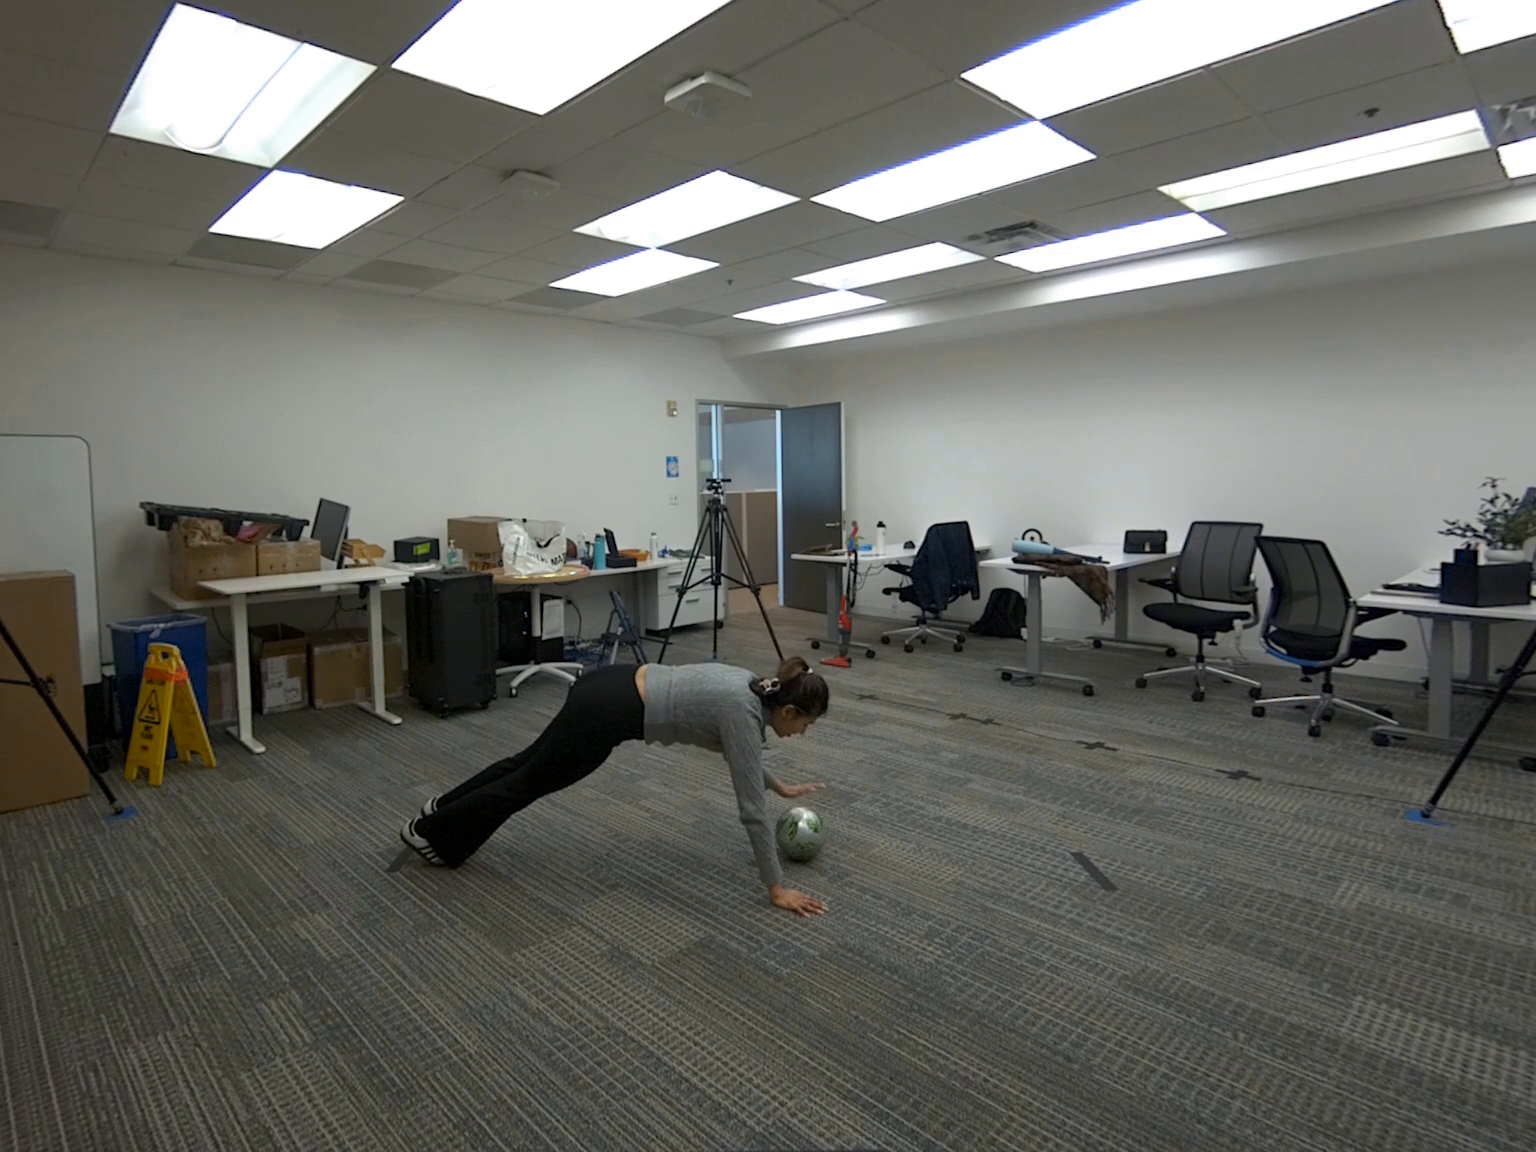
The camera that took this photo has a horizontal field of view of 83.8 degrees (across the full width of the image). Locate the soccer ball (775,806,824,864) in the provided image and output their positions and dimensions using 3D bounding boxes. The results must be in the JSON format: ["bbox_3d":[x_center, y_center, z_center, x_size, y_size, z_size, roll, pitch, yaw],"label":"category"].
[{"bbox_3d":[0.116,0.940,3.139,0.187,0.187,0.188,-1,5,-2],"label":"soccer ball"}]
